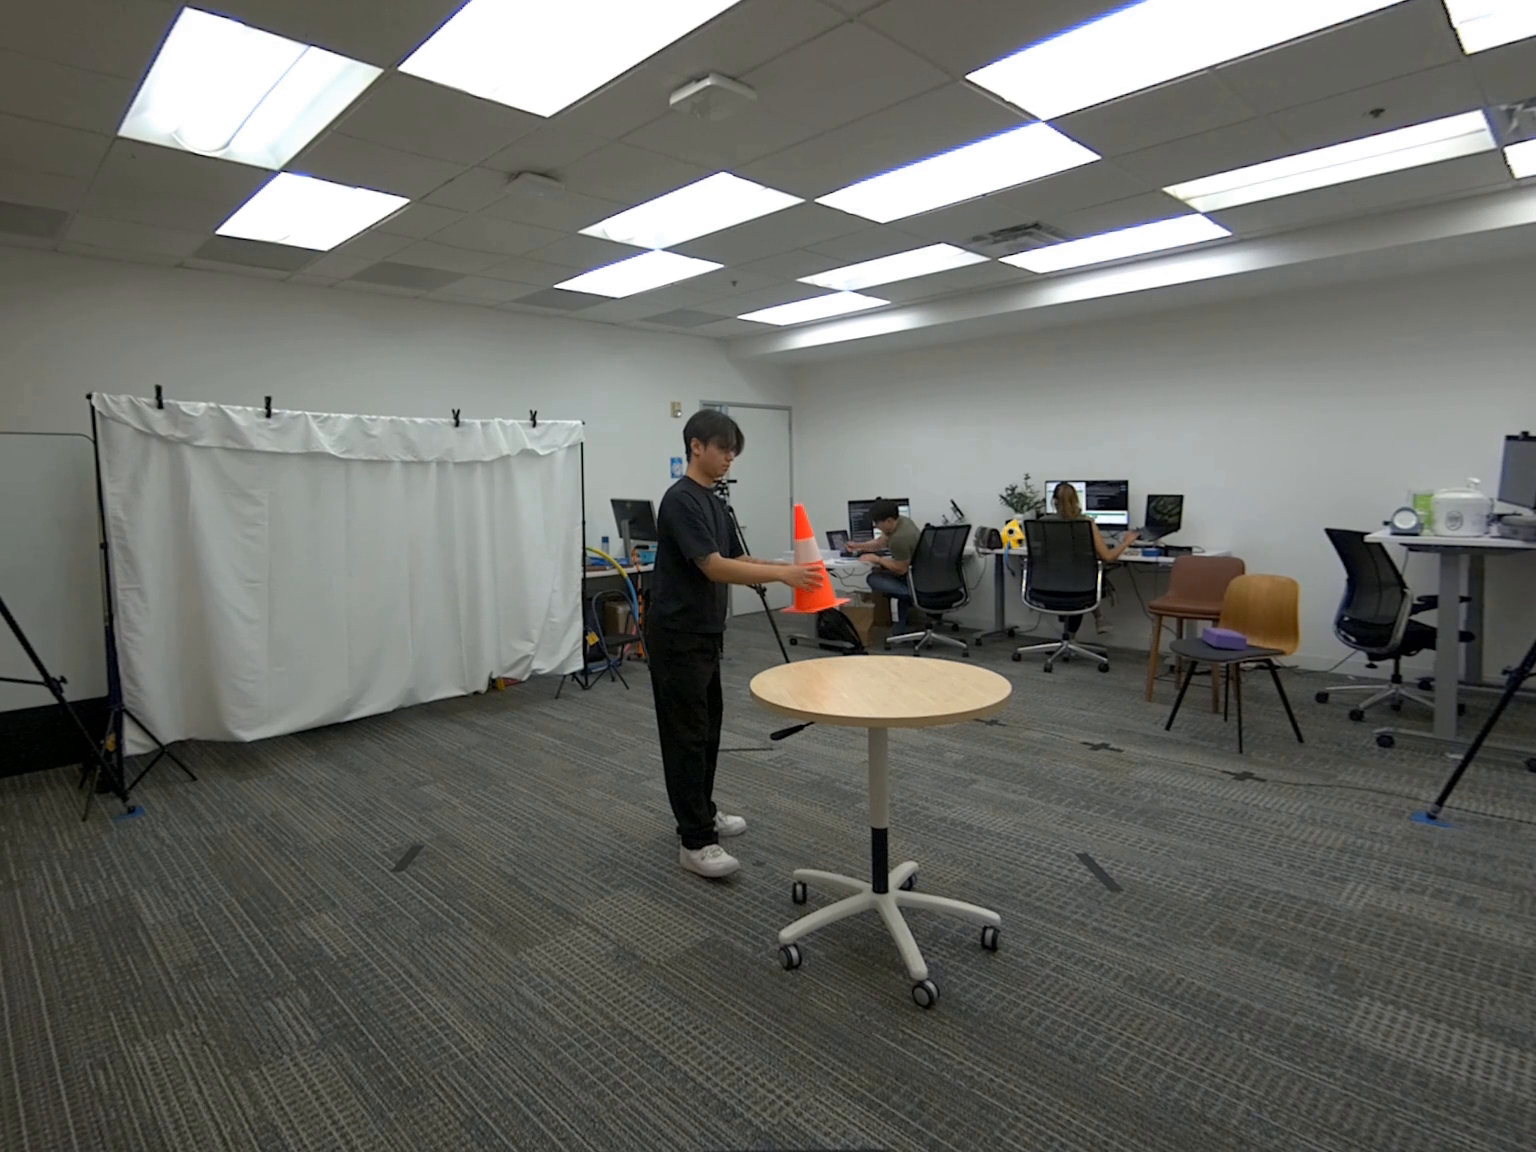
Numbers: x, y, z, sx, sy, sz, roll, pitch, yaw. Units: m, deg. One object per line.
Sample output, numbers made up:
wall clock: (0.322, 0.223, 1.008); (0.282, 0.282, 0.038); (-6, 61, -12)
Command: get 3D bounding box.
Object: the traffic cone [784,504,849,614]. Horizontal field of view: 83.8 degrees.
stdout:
traffic cone: (0.147, -0.075, 3.155); (0.210, 0.381, 0.200); (-6, 7, 31)
